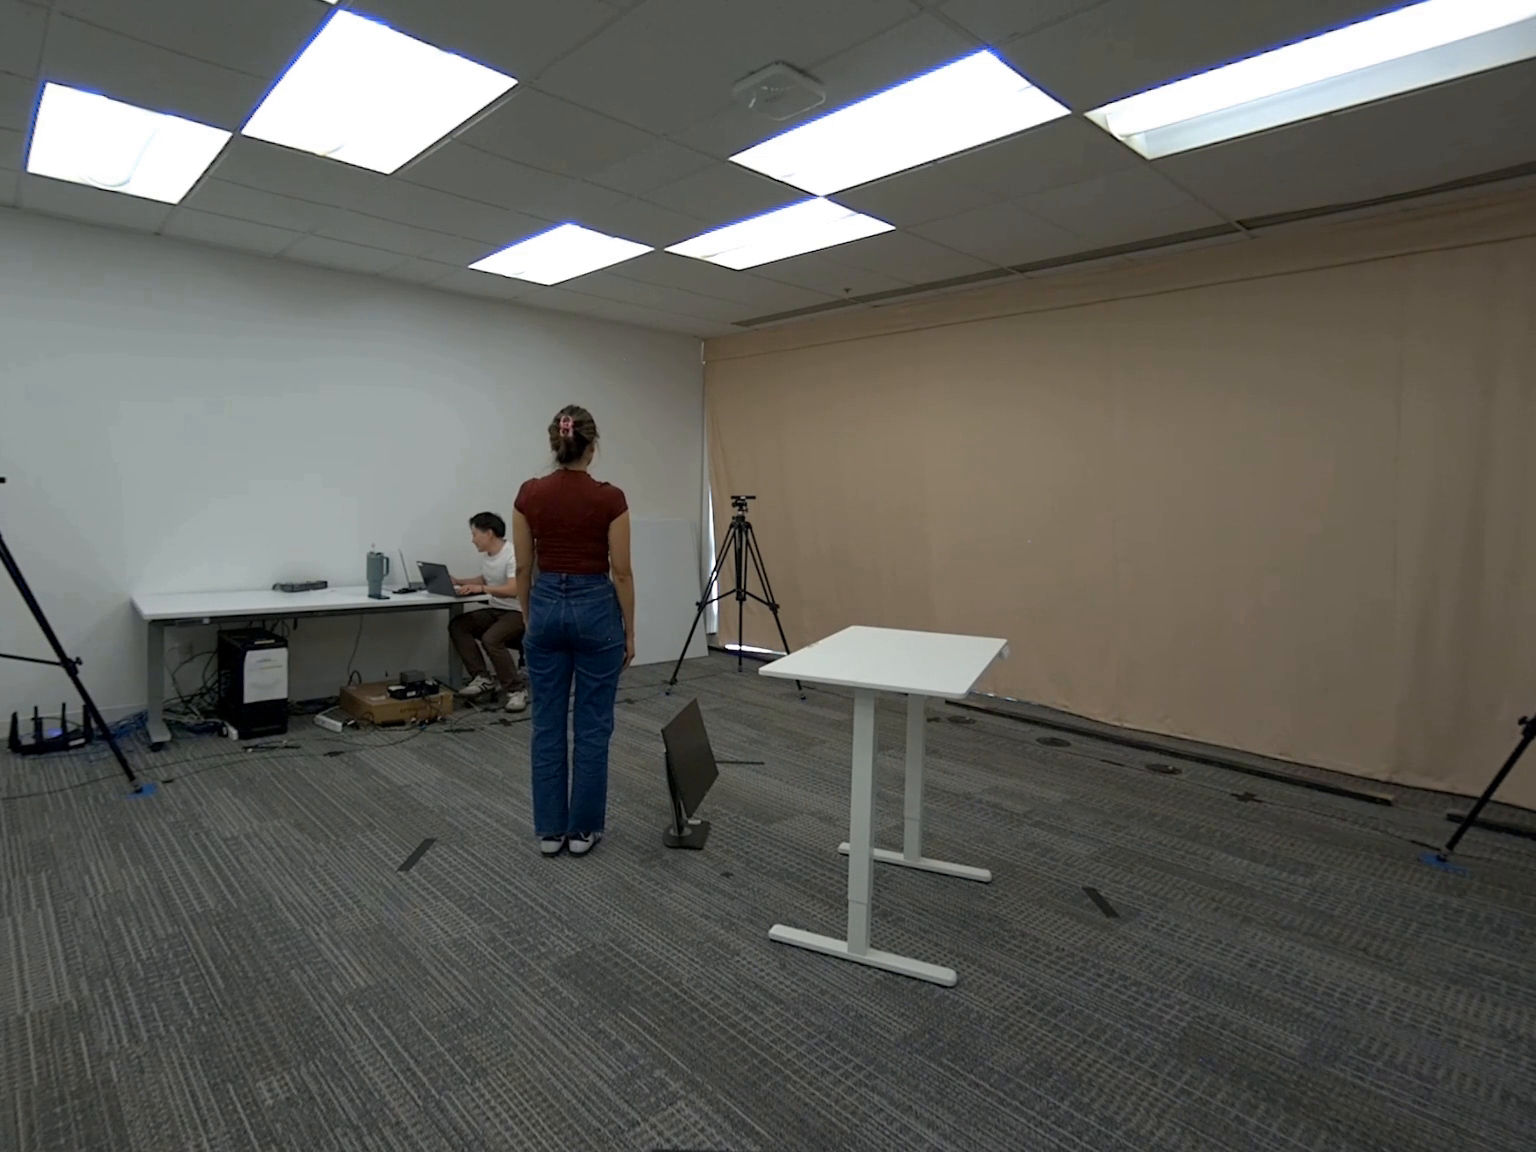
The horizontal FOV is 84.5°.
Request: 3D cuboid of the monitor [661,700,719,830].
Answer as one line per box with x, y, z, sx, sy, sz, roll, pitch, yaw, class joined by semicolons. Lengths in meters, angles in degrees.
-0.356;0.820;3.454;0.188;0.521;0.536;-1;5;9;monitor
